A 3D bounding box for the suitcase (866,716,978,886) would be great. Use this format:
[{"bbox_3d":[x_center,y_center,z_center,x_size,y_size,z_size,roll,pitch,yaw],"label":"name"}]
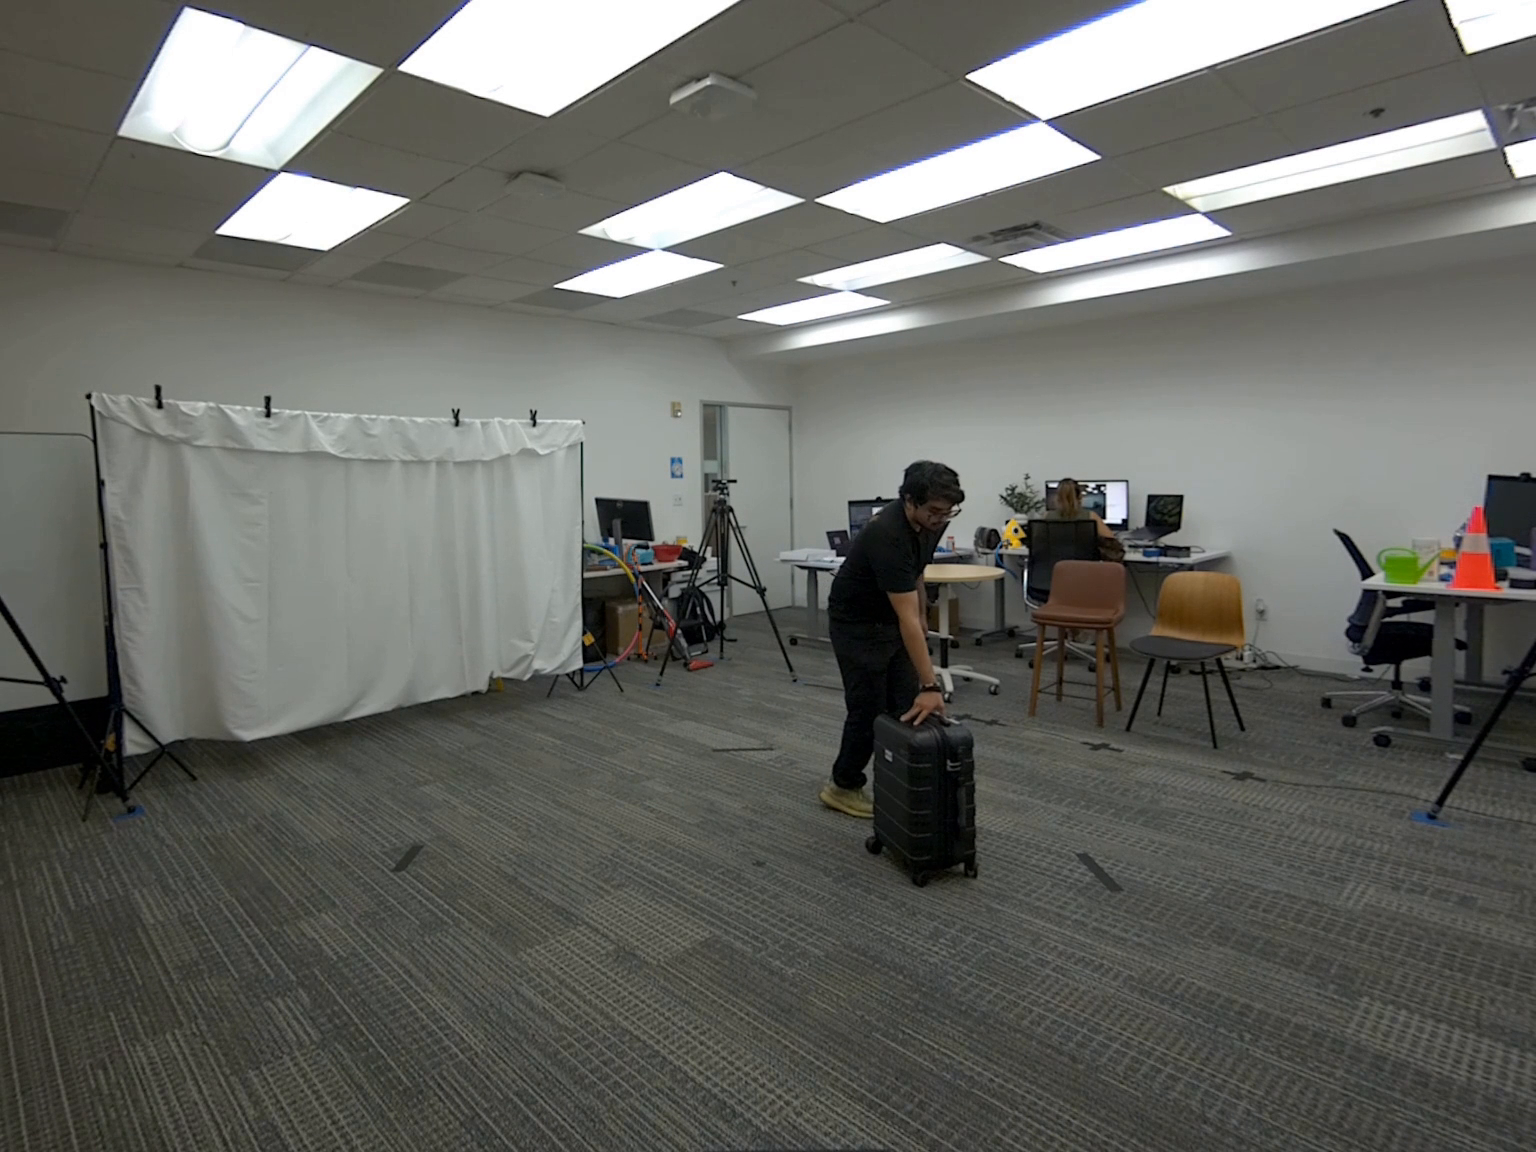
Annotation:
[{"bbox_3d":[0.558,0.773,3.063,0.244,0.547,0.383,-3,5,-18],"label":"suitcase"}]
